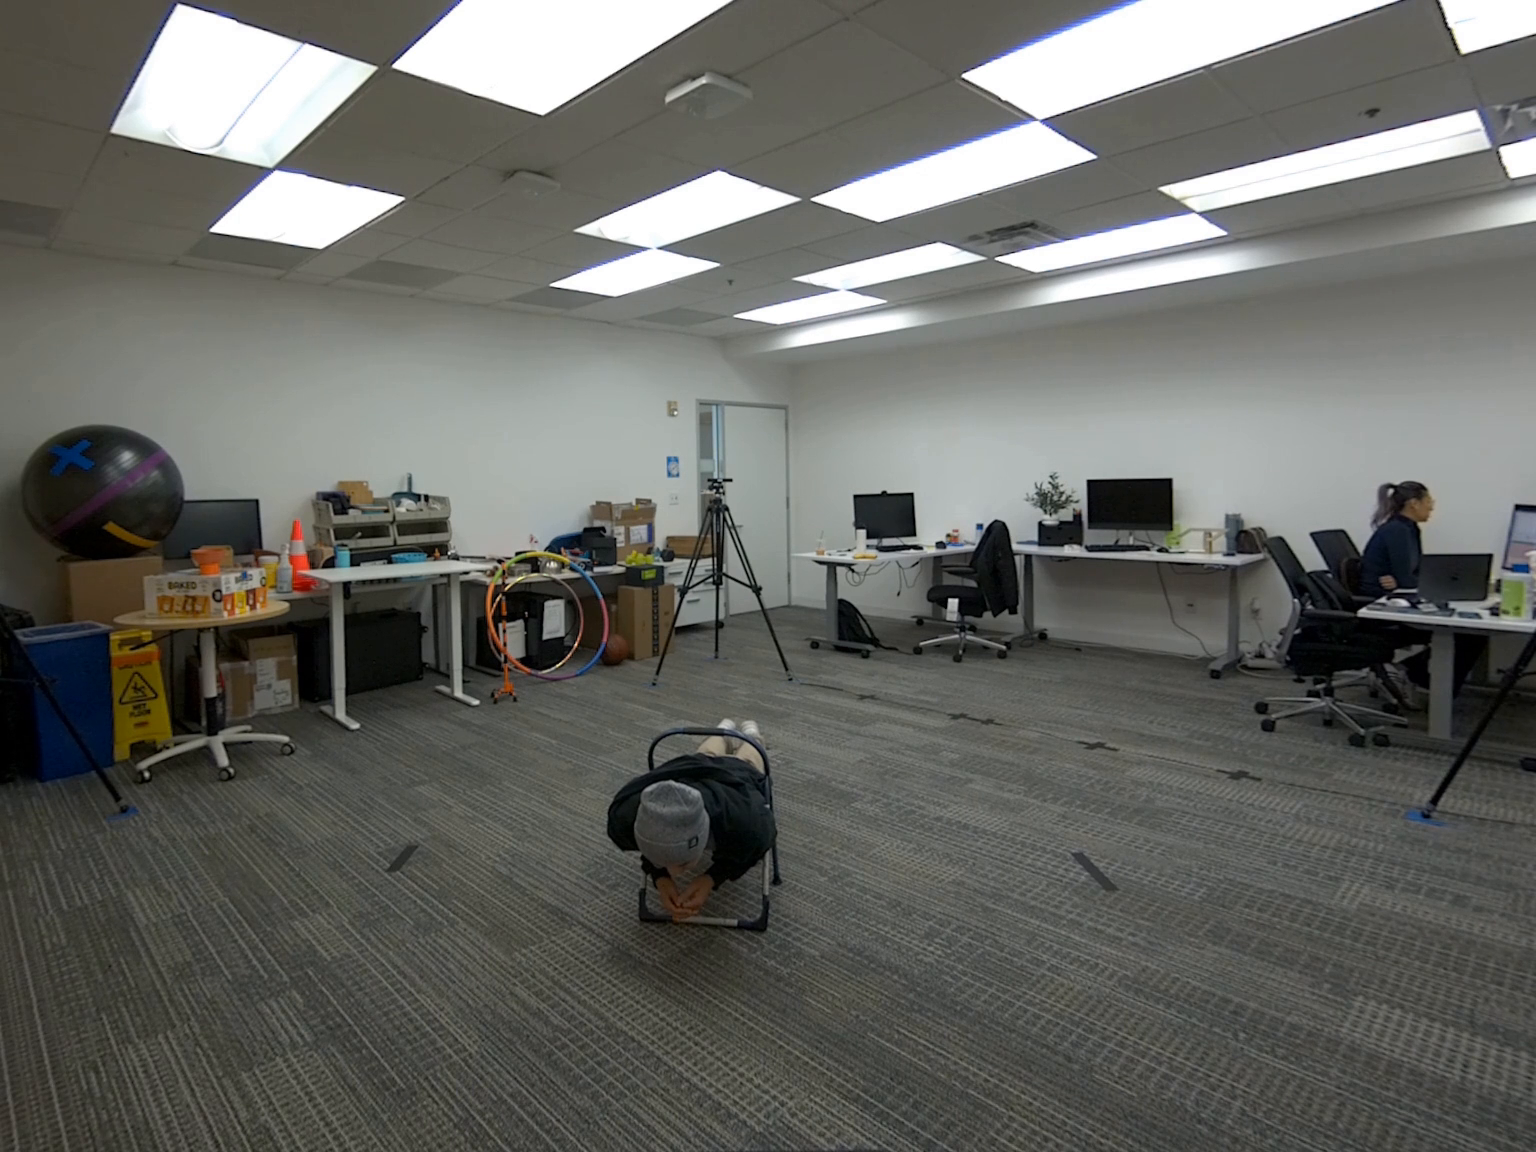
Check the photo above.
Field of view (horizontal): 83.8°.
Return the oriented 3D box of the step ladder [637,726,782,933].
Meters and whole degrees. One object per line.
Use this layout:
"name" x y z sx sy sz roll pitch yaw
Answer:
"step ladder" -0.187 0.783 2.817 0.434 0.603 0.348 -1 6 8
